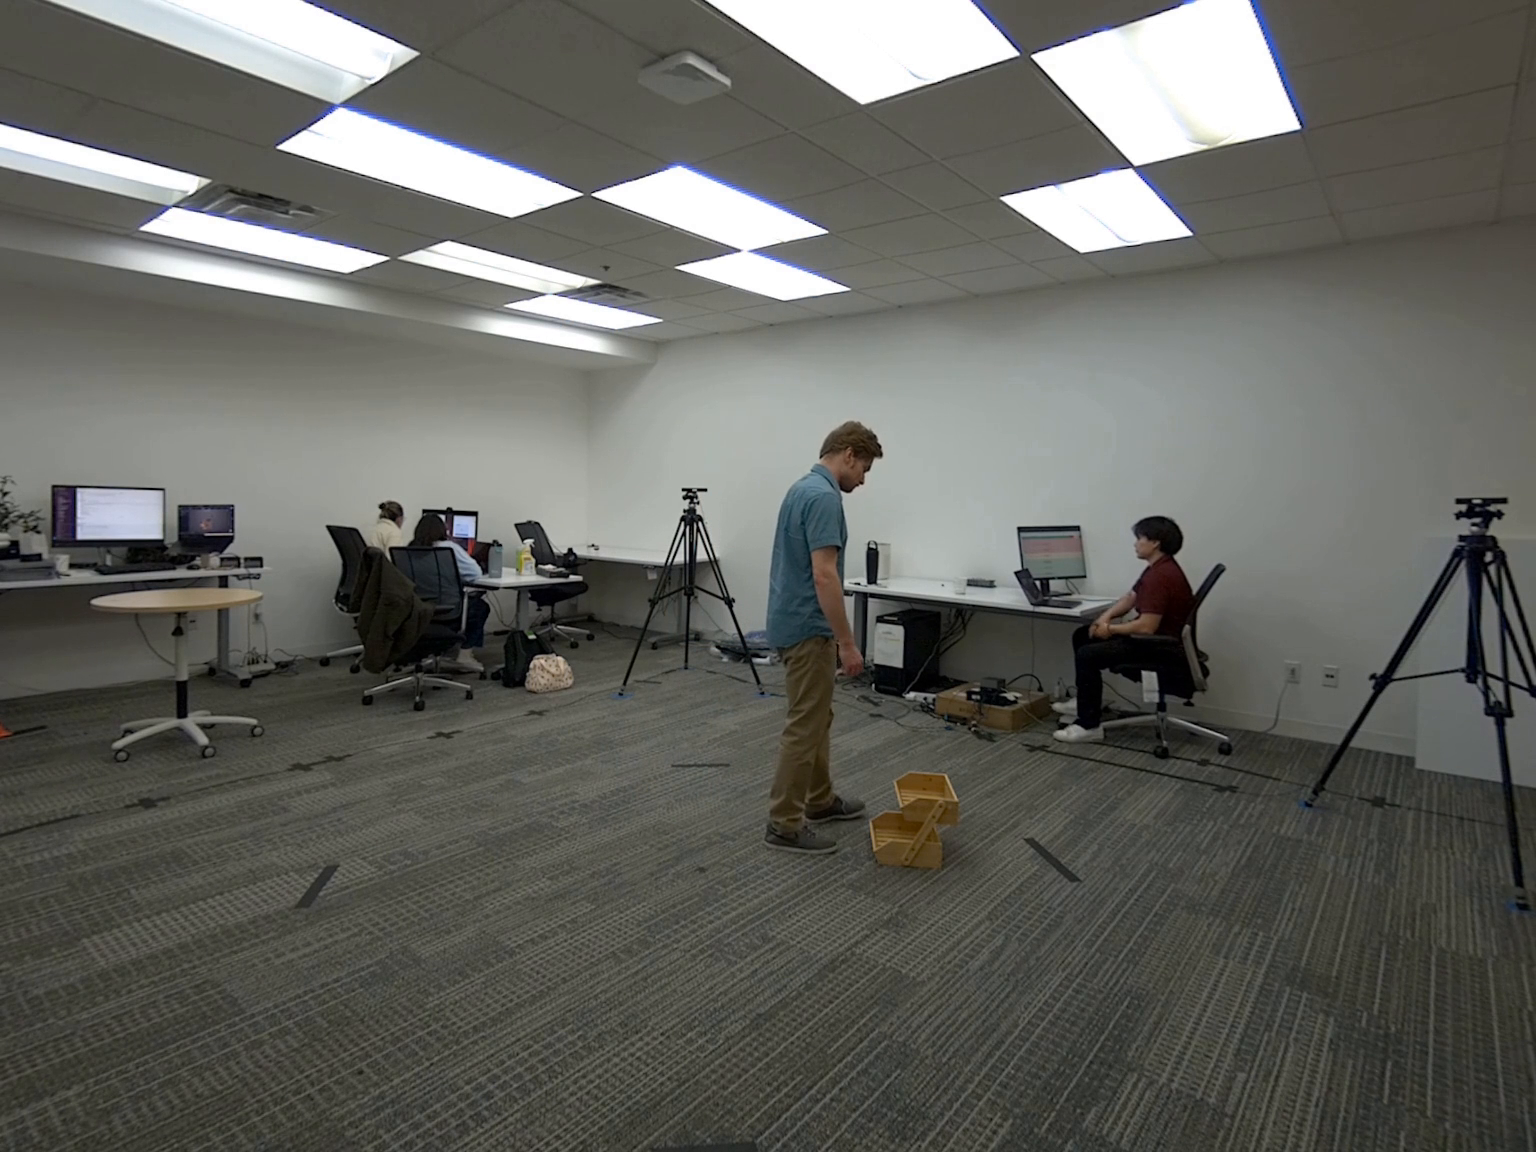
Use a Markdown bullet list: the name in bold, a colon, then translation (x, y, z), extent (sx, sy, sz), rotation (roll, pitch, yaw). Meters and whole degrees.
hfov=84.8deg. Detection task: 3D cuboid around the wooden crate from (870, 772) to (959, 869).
- **wooden crate**: translation (0.544, 0.927, 3.315), extent (0.304, 0.272, 0.324), rotation (3, 5, 4)
